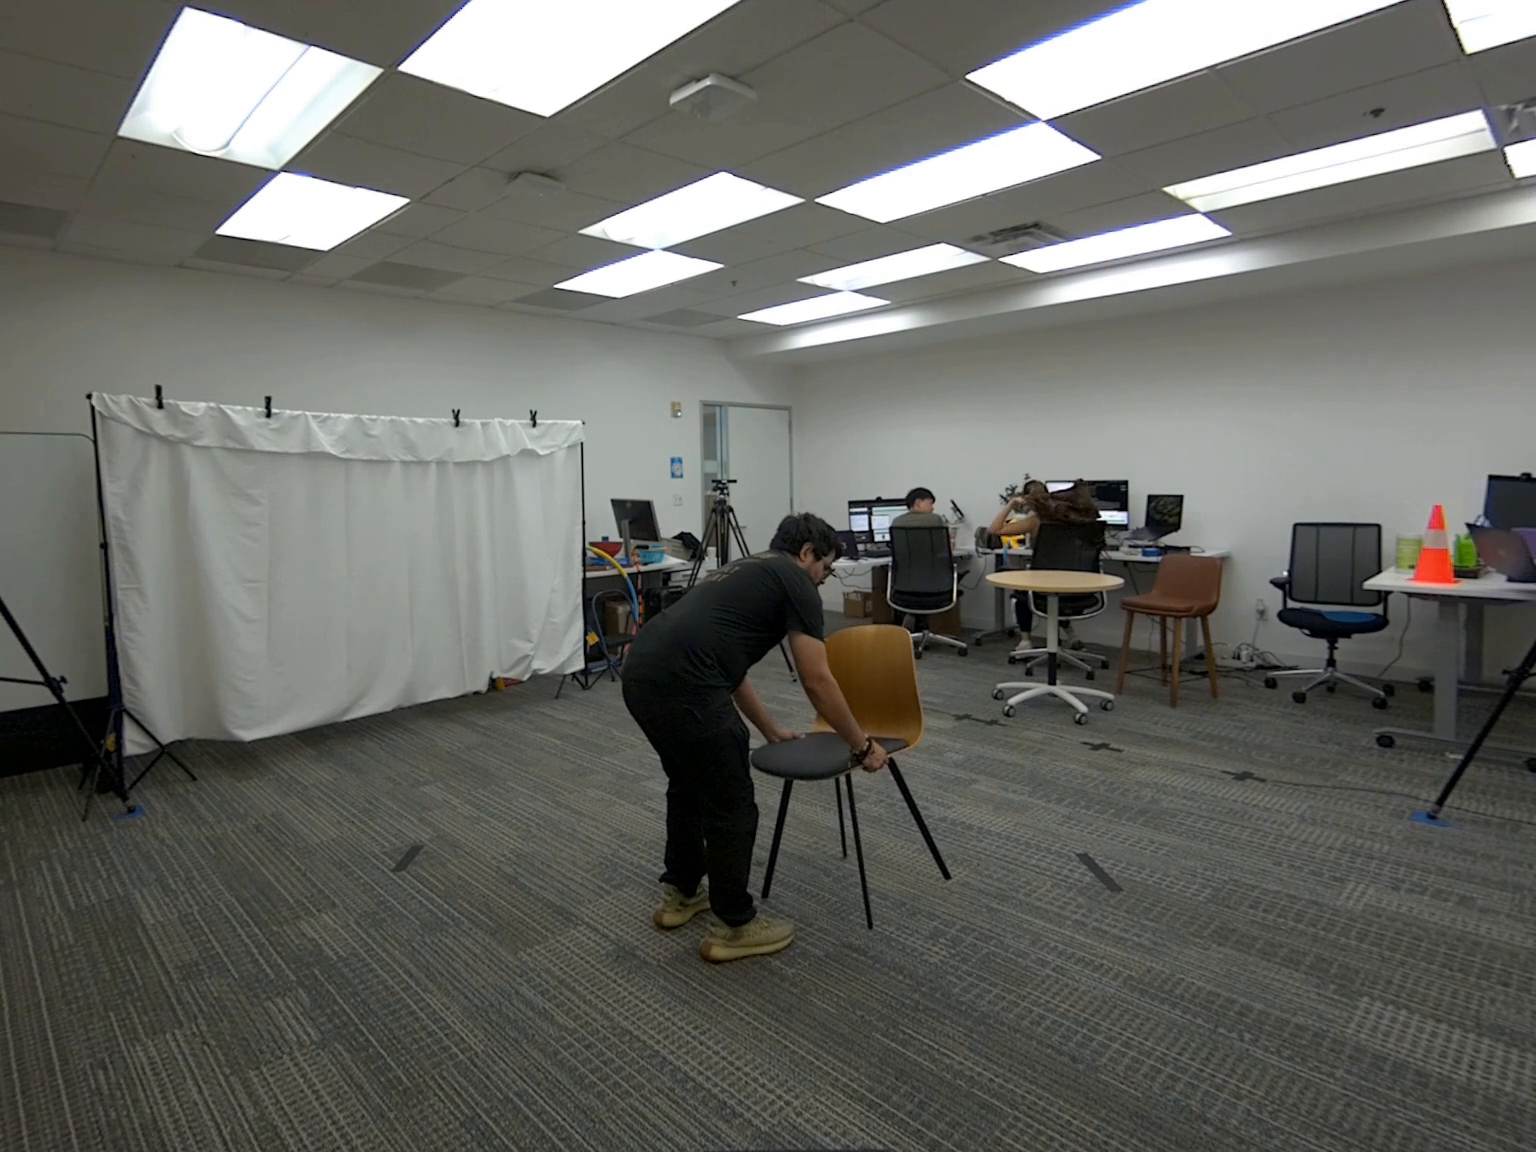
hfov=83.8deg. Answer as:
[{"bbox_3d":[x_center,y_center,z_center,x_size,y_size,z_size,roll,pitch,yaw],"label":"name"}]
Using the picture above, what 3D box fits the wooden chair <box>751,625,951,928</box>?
[{"bbox_3d":[0.243,0.619,2.852,0.508,0.881,0.490,0,-5,-45],"label":"wooden chair"}]
